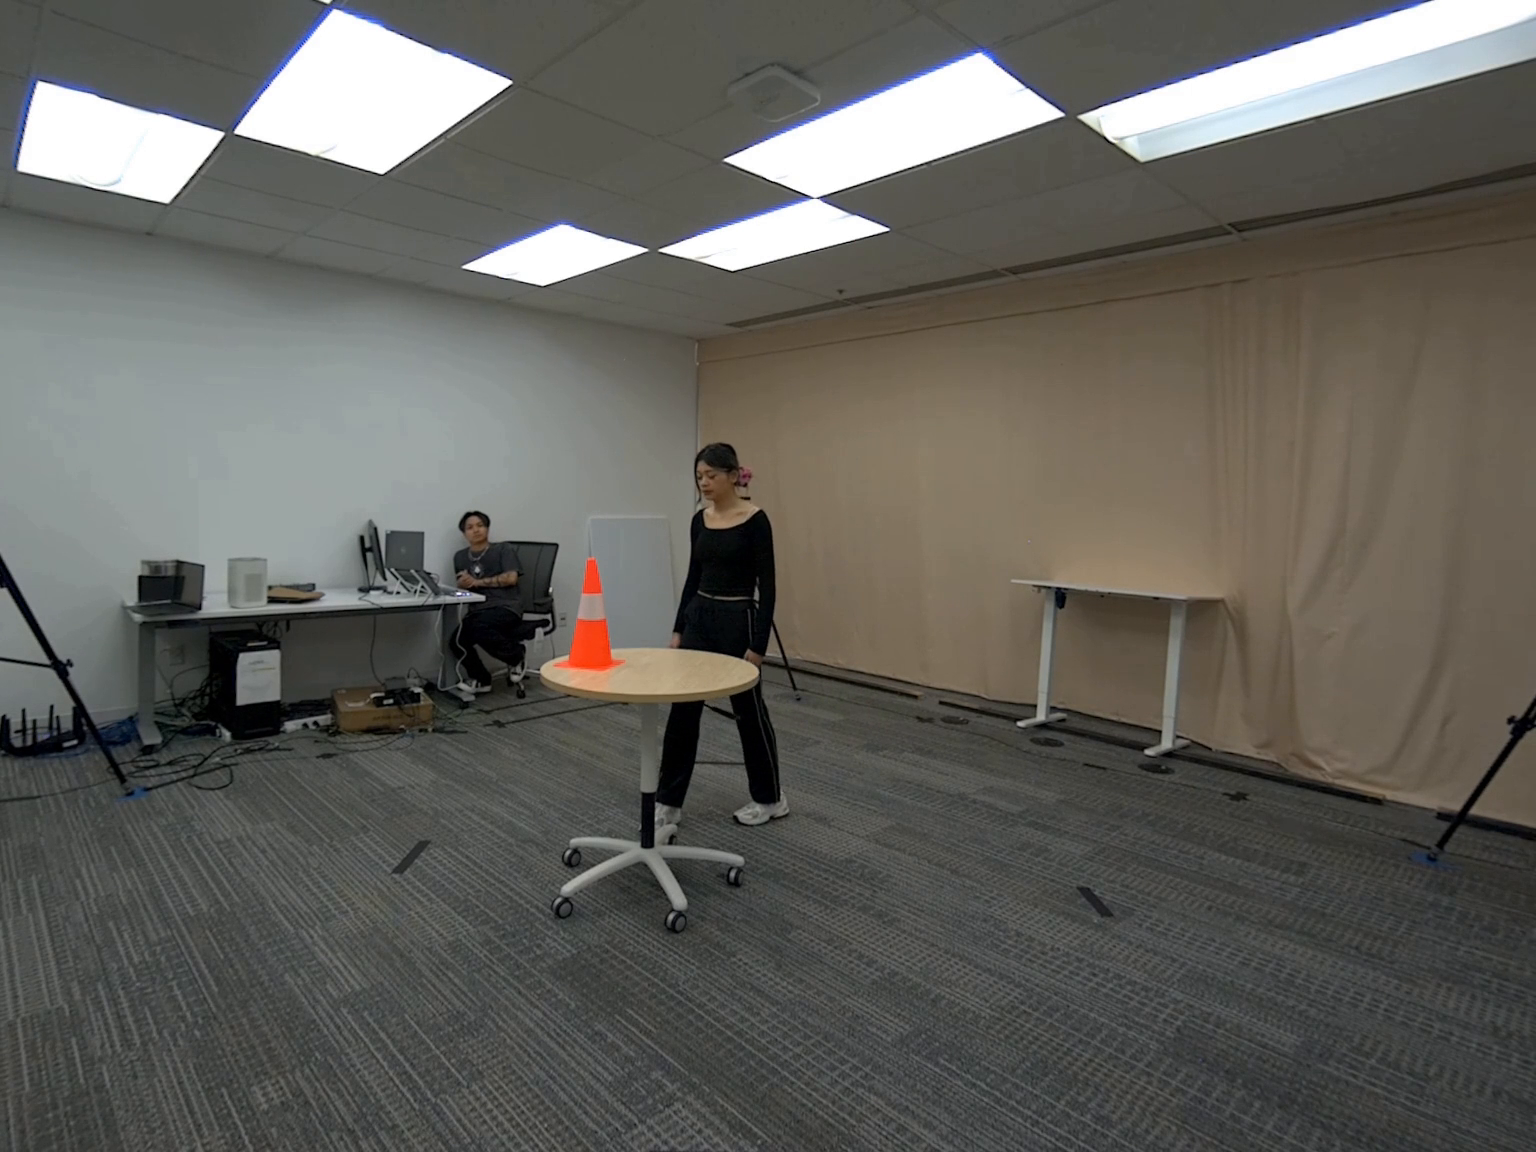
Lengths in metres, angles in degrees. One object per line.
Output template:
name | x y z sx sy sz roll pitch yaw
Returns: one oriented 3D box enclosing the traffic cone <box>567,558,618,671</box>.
traffic cone | -0.643 0.130 3.011 0.206 0.383 0.202 0 2 7
